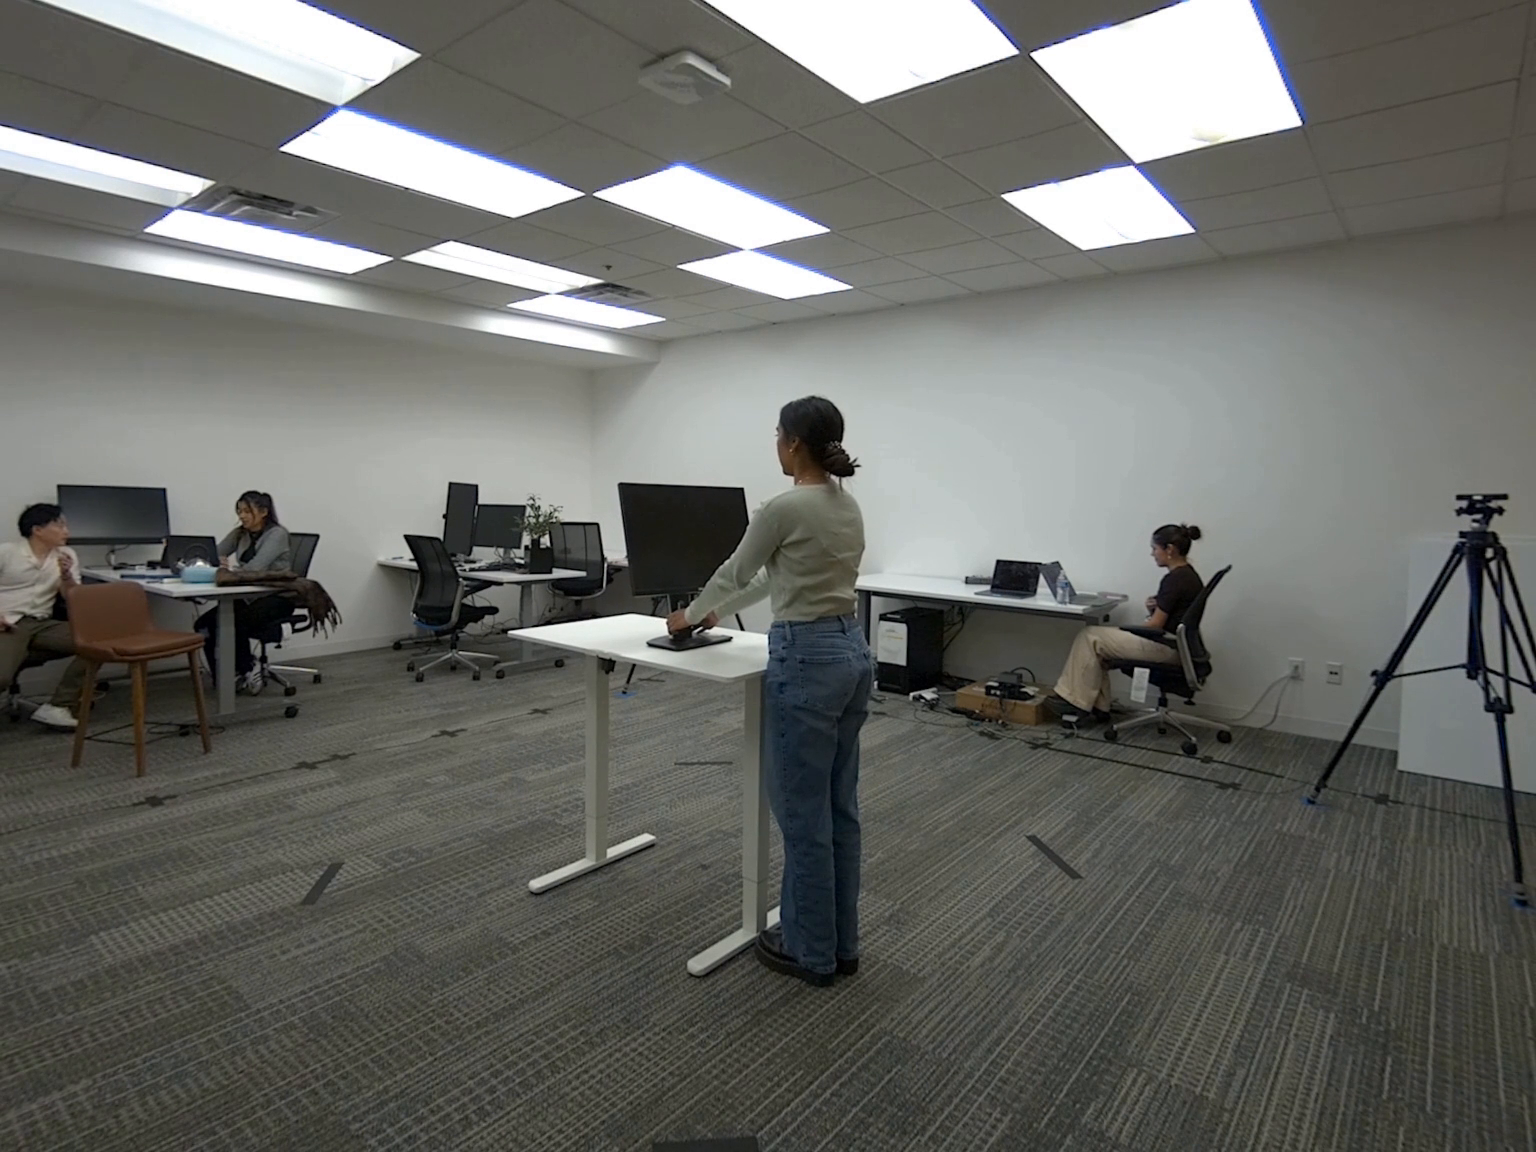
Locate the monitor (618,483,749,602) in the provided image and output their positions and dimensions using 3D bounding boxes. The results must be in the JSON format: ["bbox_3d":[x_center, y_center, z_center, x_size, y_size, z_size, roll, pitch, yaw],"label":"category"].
[{"bbox_3d":[-0.285,-0.036,2.777,0.193,0.521,0.523,3,4,43],"label":"monitor"}]
